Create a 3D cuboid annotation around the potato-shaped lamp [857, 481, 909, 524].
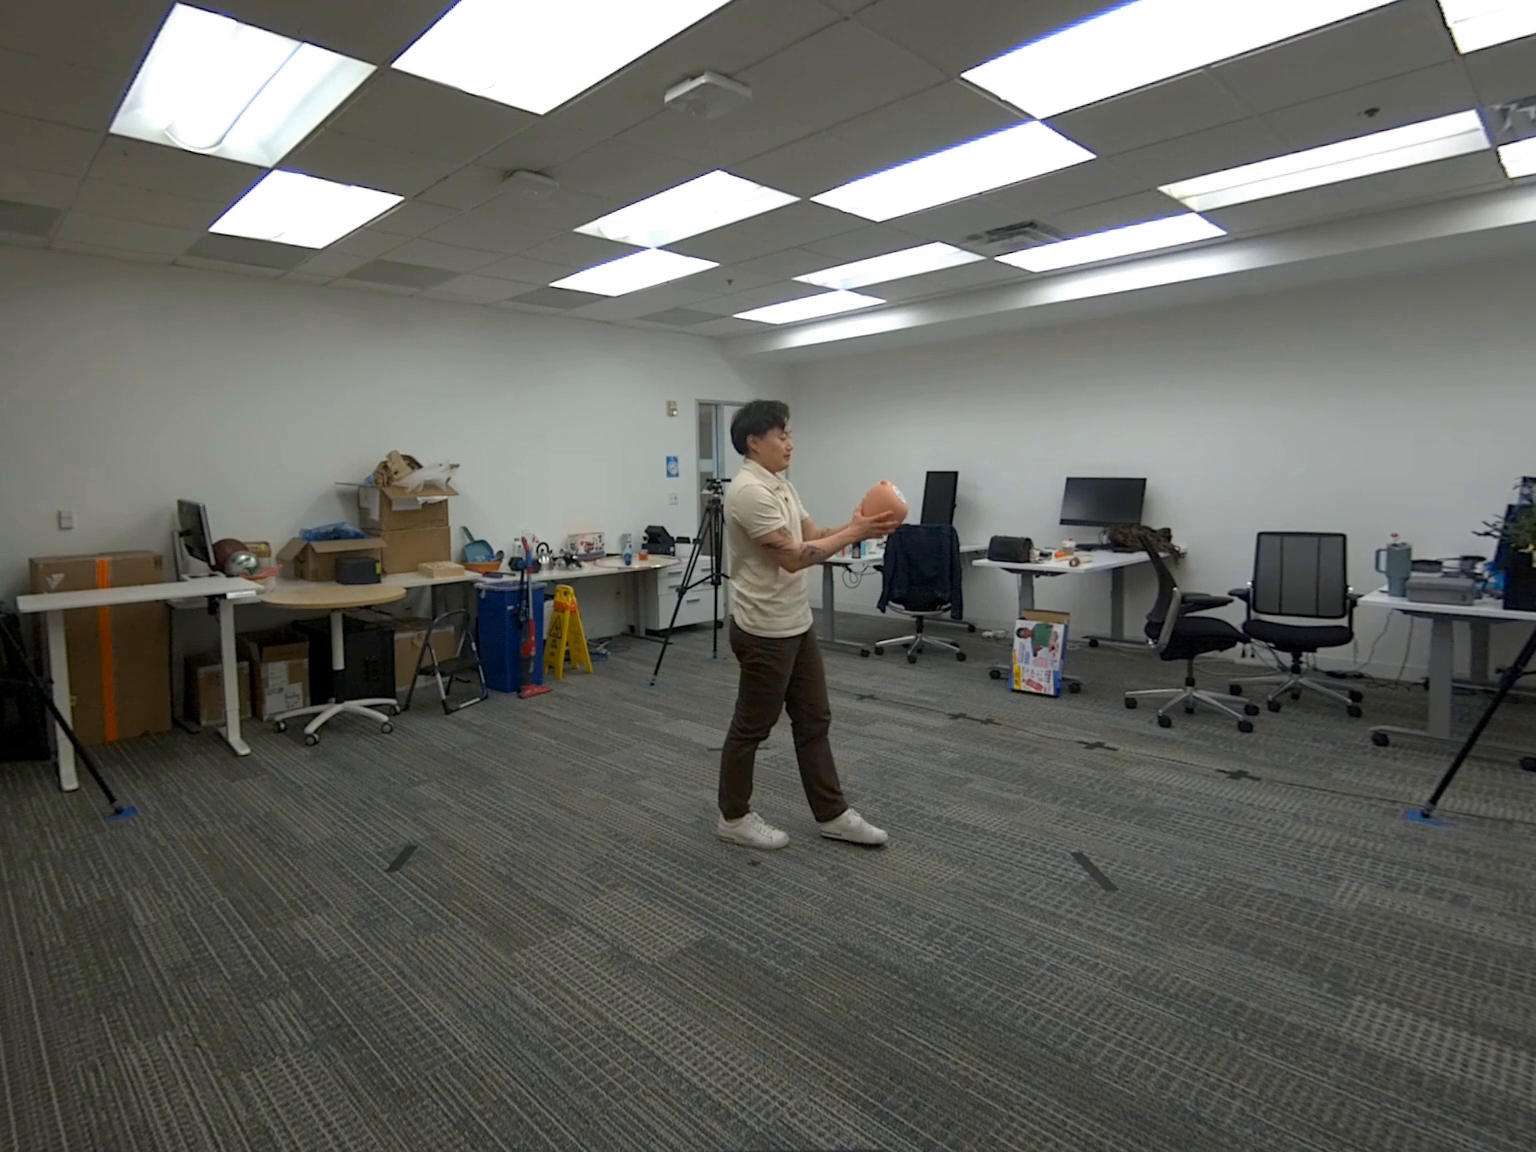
[{"bbox_3d":[0.402,-0.238,3.097,0.199,0.174,0.161,-34,-14,23],"label":"potato-shaped lamp"}]
